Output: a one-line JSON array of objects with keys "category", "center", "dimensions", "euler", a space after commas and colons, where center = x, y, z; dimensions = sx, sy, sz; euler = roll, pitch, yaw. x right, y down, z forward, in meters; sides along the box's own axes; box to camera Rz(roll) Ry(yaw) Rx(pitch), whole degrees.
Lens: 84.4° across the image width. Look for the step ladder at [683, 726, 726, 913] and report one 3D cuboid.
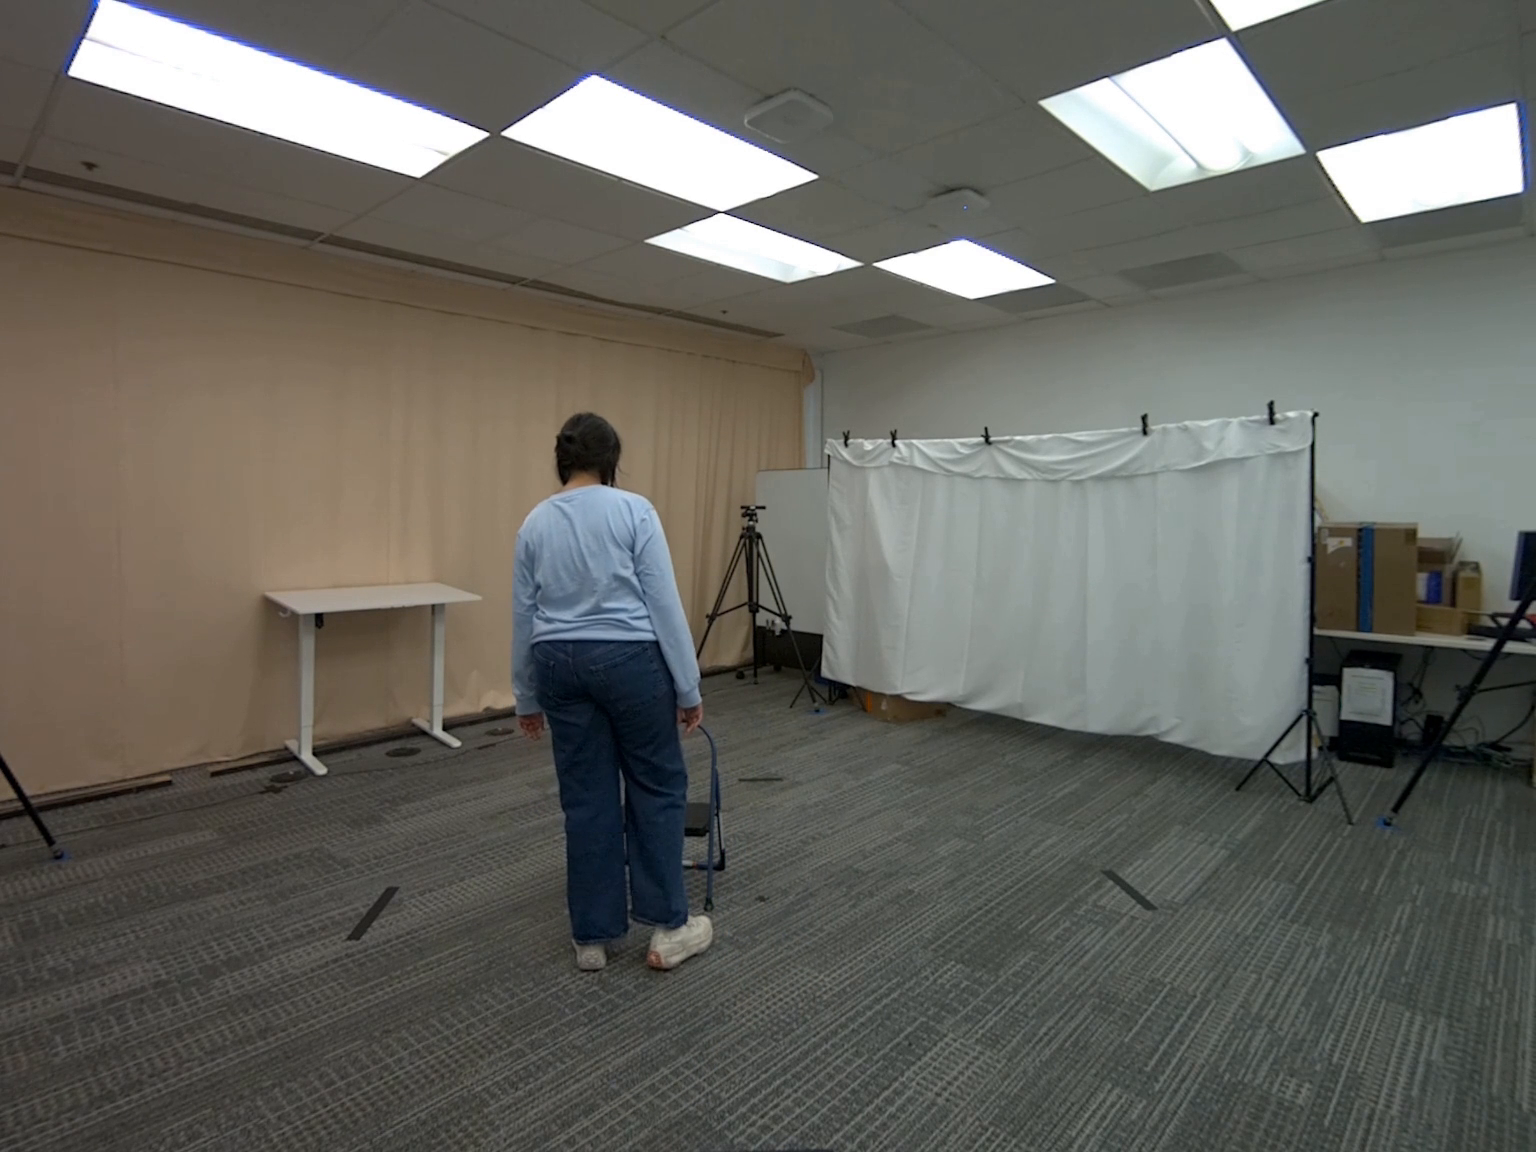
[{"category": "step ladder", "center": [-0.388, 0.839, 3.085], "dimensions": [0.435, 0.604, 0.347], "euler": [0, 5, 9]}]
